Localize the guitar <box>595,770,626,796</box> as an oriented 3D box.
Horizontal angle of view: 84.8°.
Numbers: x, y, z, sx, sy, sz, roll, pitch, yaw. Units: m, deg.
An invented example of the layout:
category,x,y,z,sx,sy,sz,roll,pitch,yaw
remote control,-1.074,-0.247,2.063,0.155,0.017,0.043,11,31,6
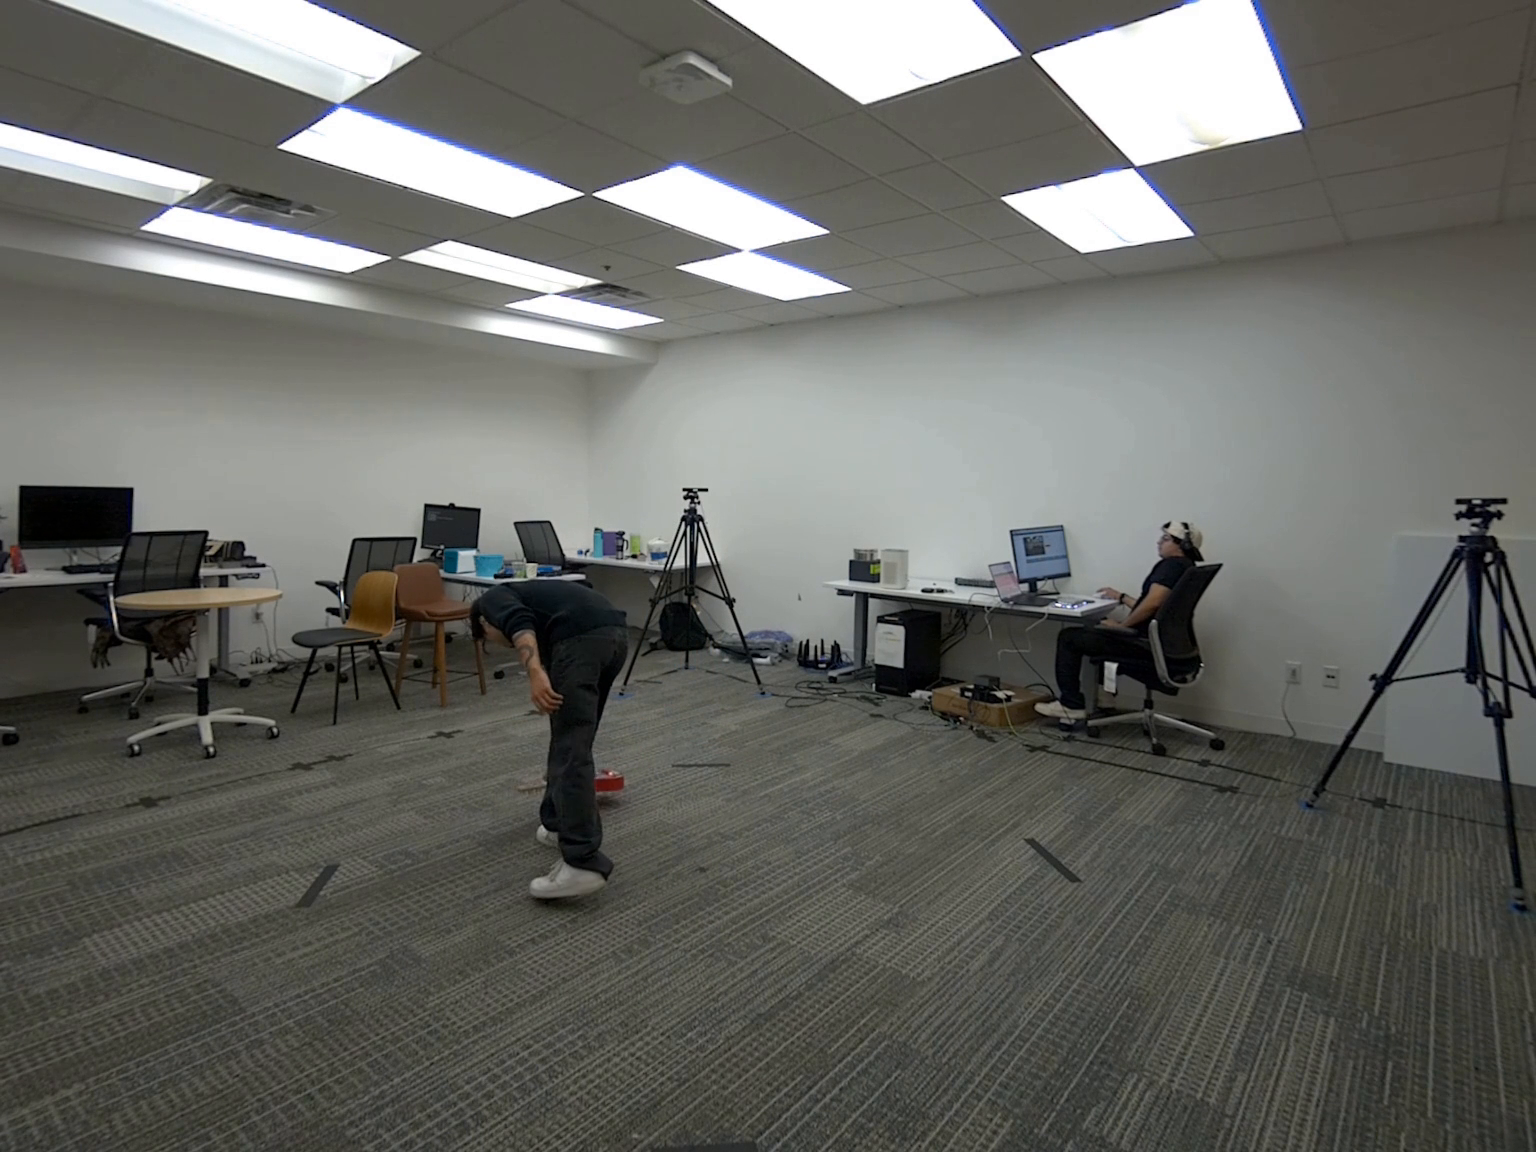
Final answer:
category,x,y,z,sx,sy,sz,roll,pitch,yaw
guitar,-0.886,0.904,3.688,0.484,0.071,0.198,0,-1,-32
